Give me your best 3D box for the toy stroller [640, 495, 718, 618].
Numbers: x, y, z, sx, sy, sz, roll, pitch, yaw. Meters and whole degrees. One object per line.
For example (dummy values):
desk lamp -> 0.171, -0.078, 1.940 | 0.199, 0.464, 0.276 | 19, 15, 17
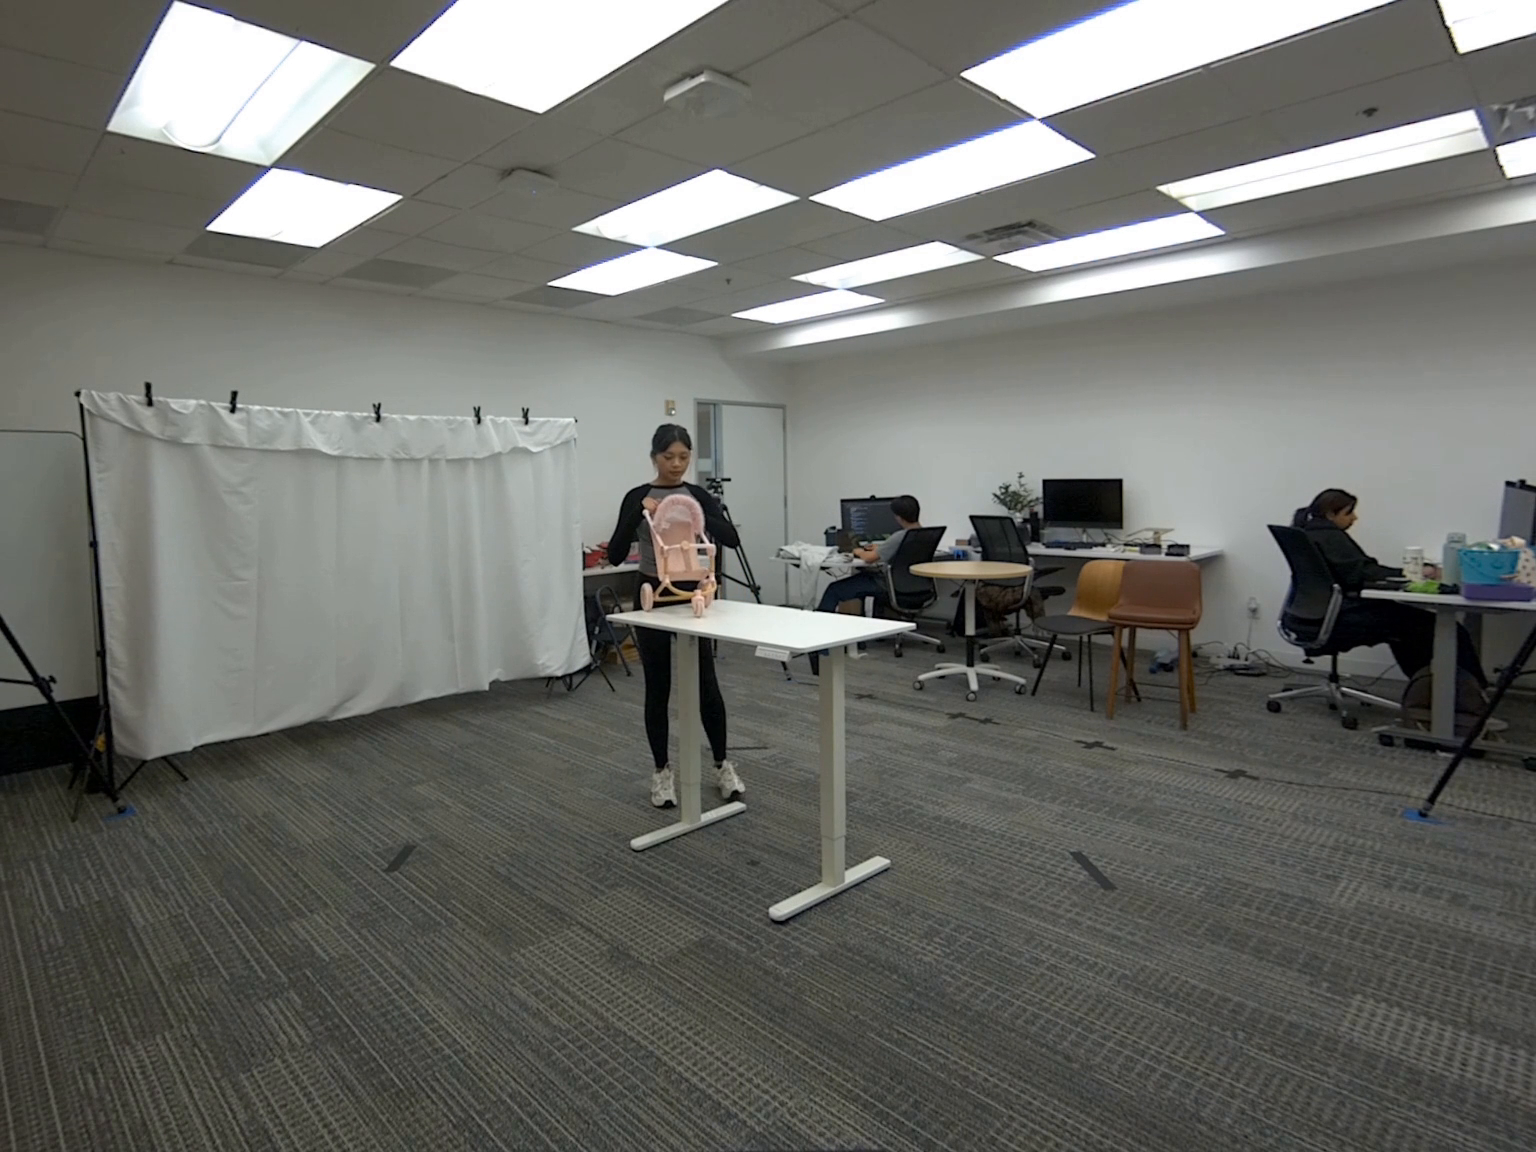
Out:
toy stroller -> -0.342, -0.082, 3.349 | 0.277, 0.542, 0.343 | -2, -13, -19
